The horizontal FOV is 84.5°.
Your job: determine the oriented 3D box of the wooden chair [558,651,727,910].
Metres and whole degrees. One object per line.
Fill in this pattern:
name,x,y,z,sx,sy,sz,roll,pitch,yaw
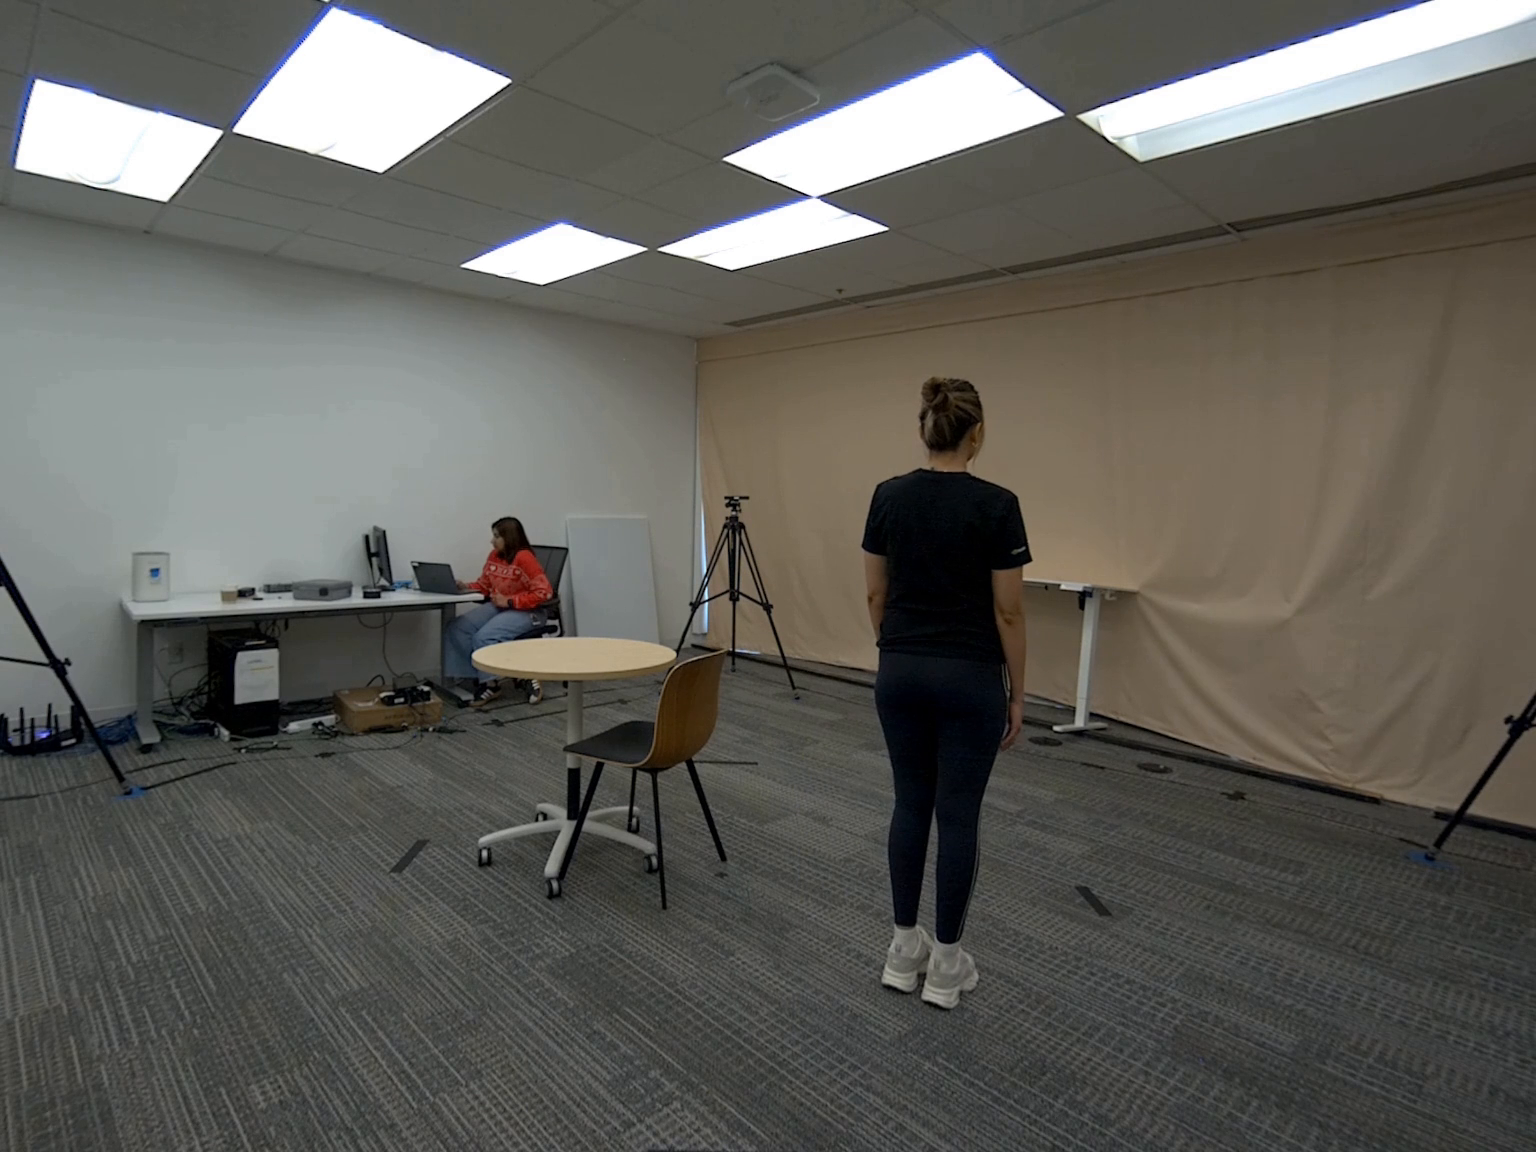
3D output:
wooden chair,-0.455,0.669,3.095,0.534,0.874,0.470,8,6,26
